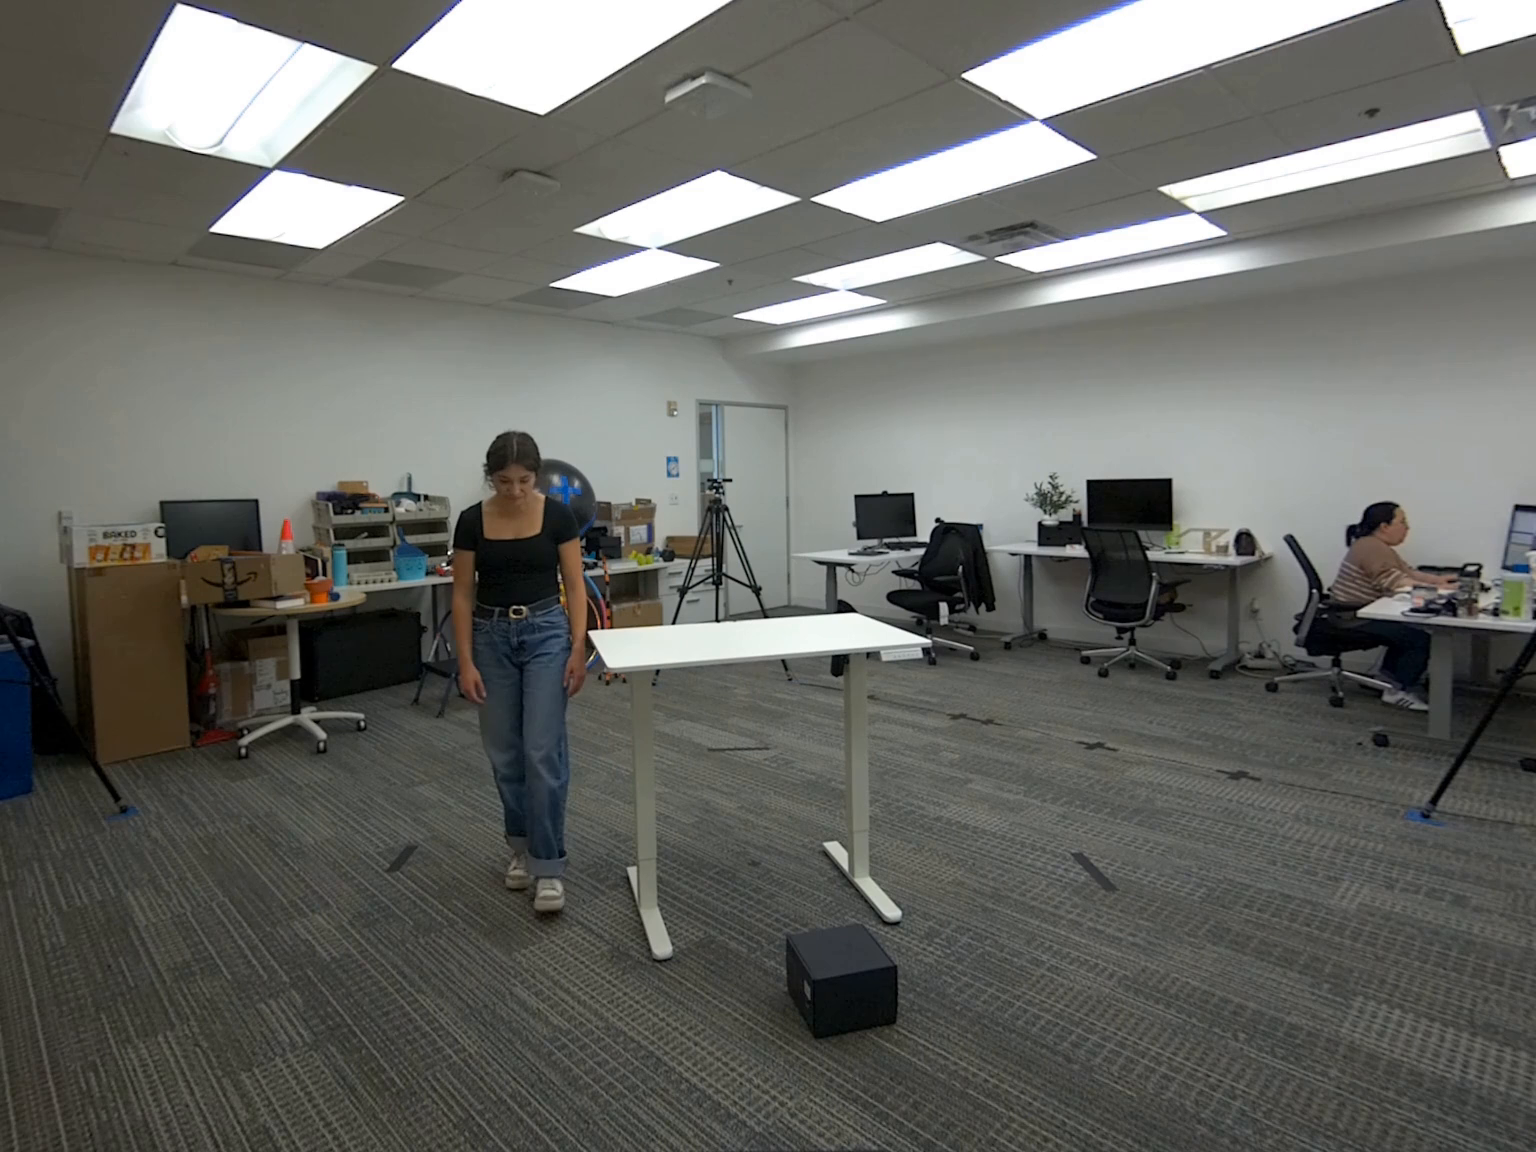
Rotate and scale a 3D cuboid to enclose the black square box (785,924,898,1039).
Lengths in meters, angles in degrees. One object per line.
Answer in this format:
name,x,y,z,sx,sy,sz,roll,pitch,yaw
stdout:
black square box,0.196,1.059,2.251,0.224,0.155,0.221,-3,6,-17
